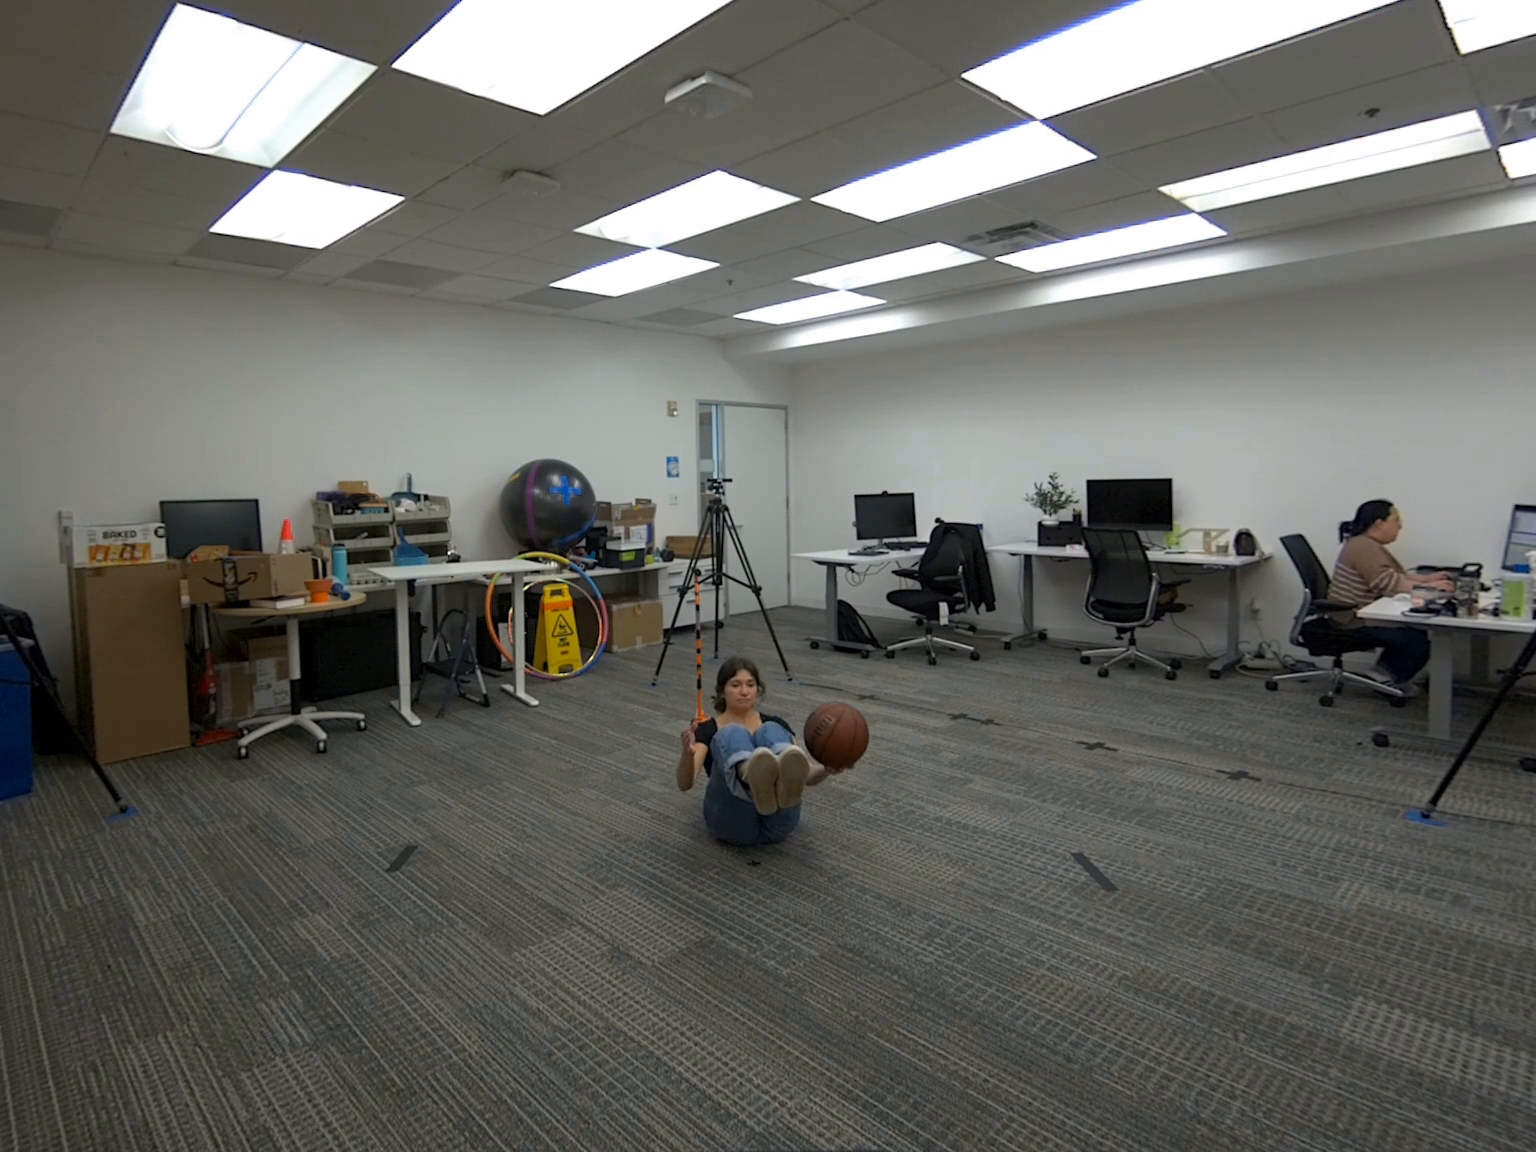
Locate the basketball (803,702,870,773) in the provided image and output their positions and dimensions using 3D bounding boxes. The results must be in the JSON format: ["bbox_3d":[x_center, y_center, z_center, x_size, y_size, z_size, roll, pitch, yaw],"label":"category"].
[{"bbox_3d":[0.237,0.582,3.133,0.236,0.235,0.237,-1,5,-2],"label":"basketball"}]
